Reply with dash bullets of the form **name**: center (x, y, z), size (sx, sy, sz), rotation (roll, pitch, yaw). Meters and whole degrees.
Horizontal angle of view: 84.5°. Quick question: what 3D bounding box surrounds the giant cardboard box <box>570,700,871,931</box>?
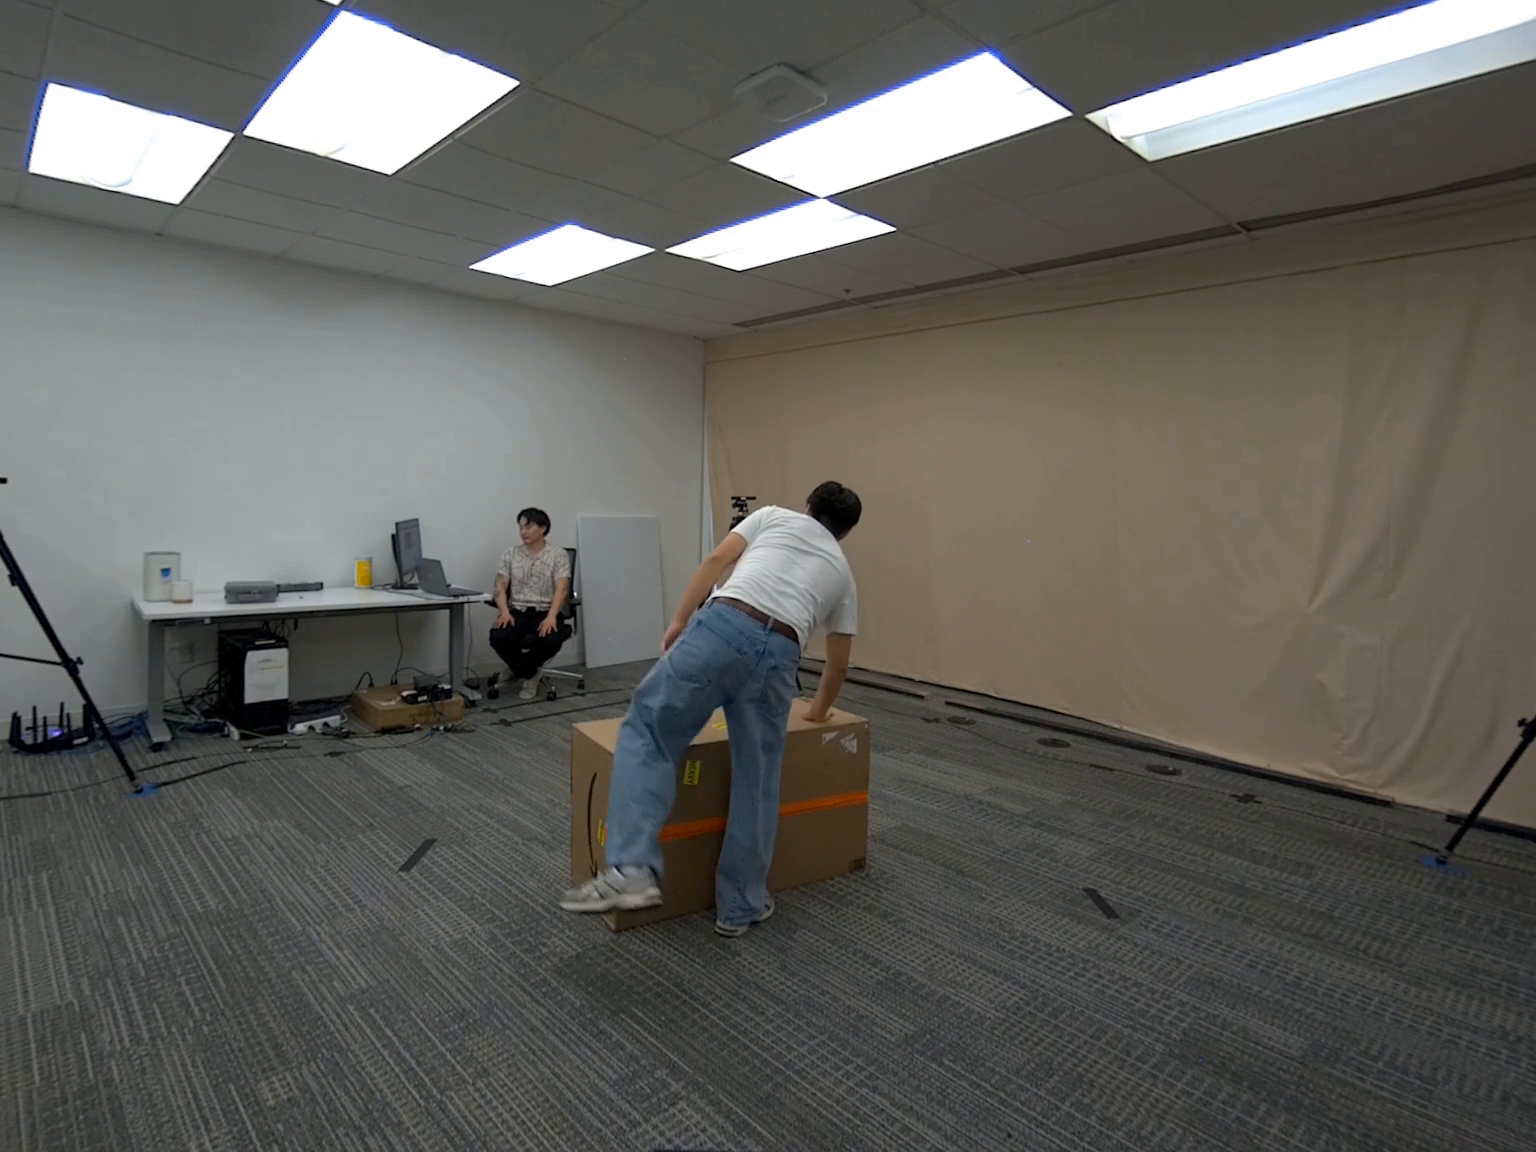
- **giant cardboard box**: center (-0.167, 0.821, 3.098), size (1.005, 0.576, 0.436), rotation (-1, 4, -30)
